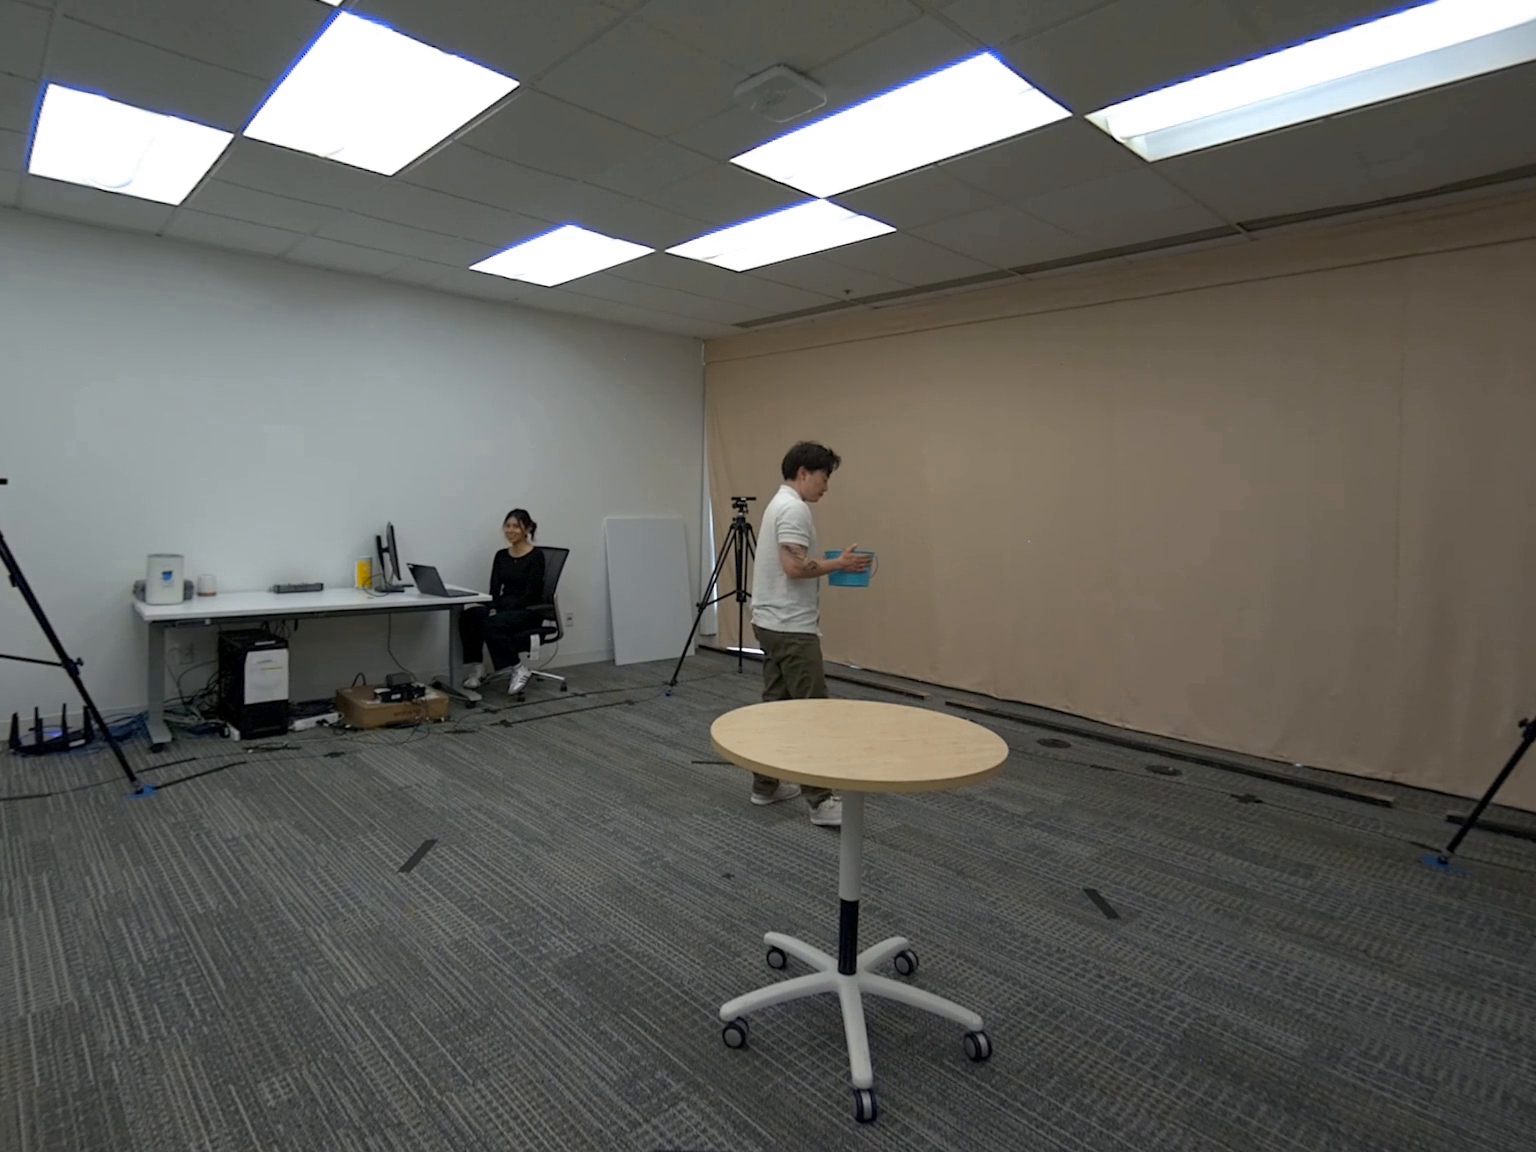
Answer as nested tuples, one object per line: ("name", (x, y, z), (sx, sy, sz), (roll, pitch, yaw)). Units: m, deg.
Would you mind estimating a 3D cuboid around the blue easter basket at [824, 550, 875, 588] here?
("blue easter basket", (0.363, -0.035, 3.831), (0.243, 0.156, 0.243), (1, -1, -1))
